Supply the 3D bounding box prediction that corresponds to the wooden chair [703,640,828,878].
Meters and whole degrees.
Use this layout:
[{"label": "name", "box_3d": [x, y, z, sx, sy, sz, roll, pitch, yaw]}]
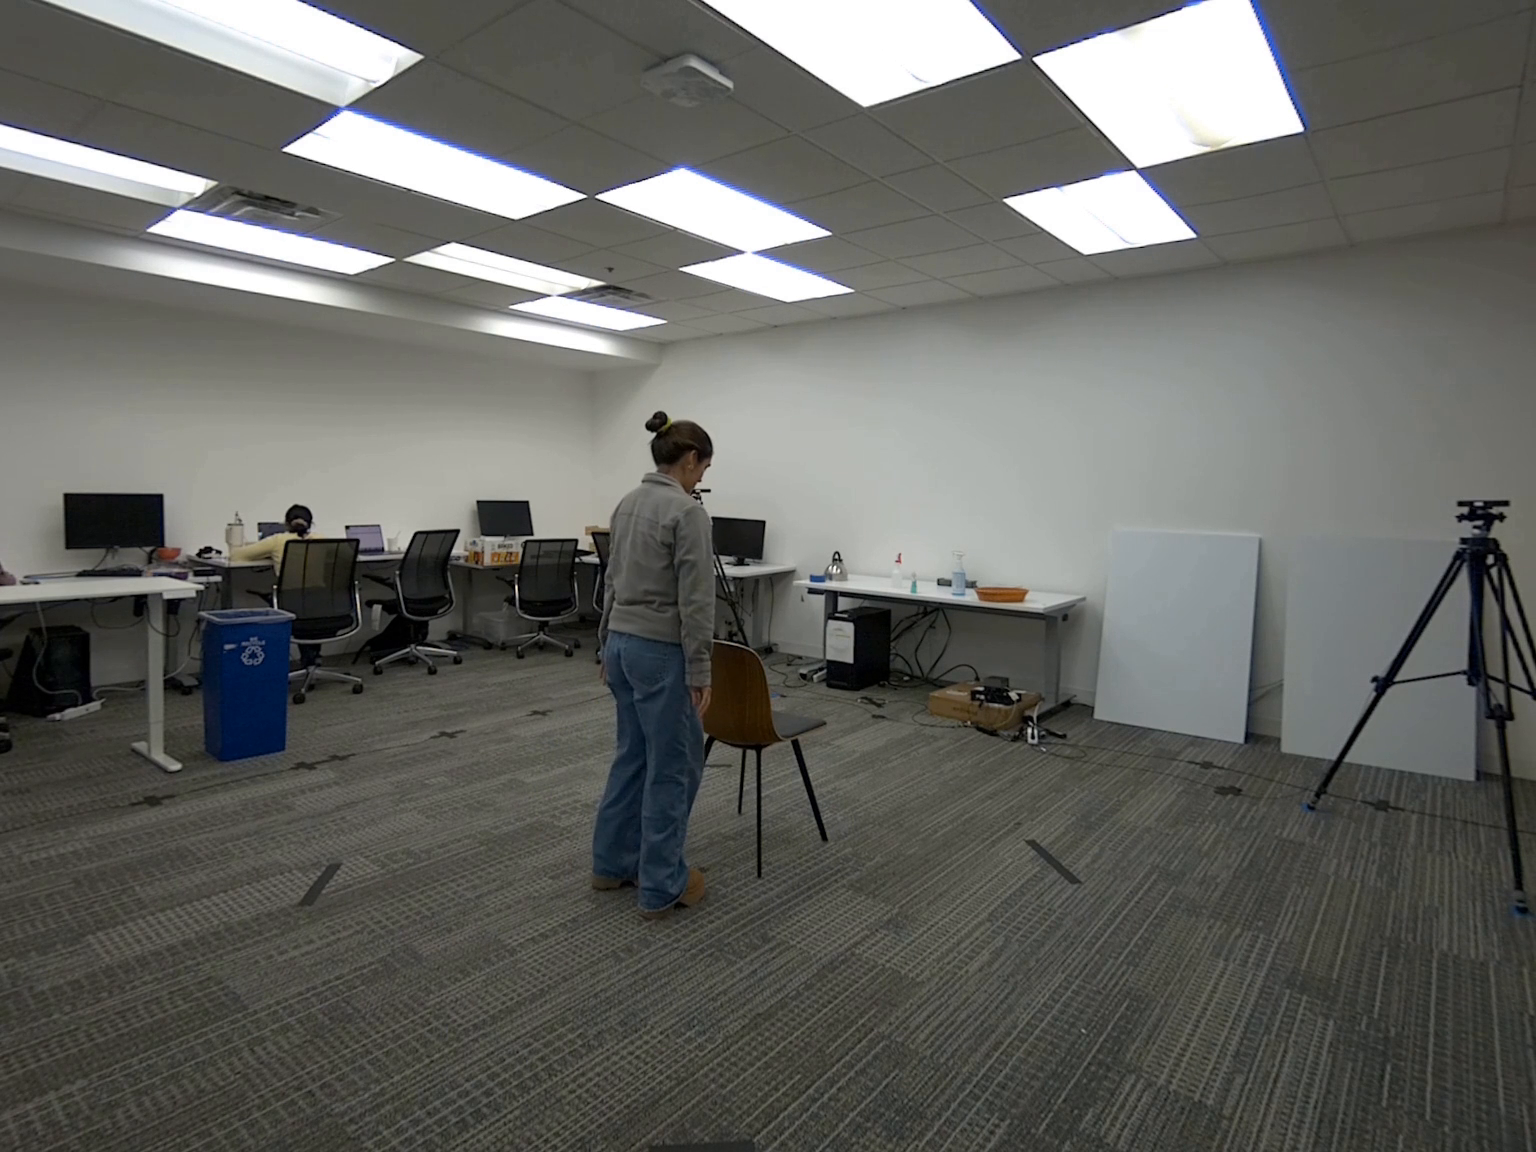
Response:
[{"label": "wooden chair", "box_3d": [-0.072, 0.625, 3.347, 0.494, 0.872, 0.509, 3, 8, 38]}]
